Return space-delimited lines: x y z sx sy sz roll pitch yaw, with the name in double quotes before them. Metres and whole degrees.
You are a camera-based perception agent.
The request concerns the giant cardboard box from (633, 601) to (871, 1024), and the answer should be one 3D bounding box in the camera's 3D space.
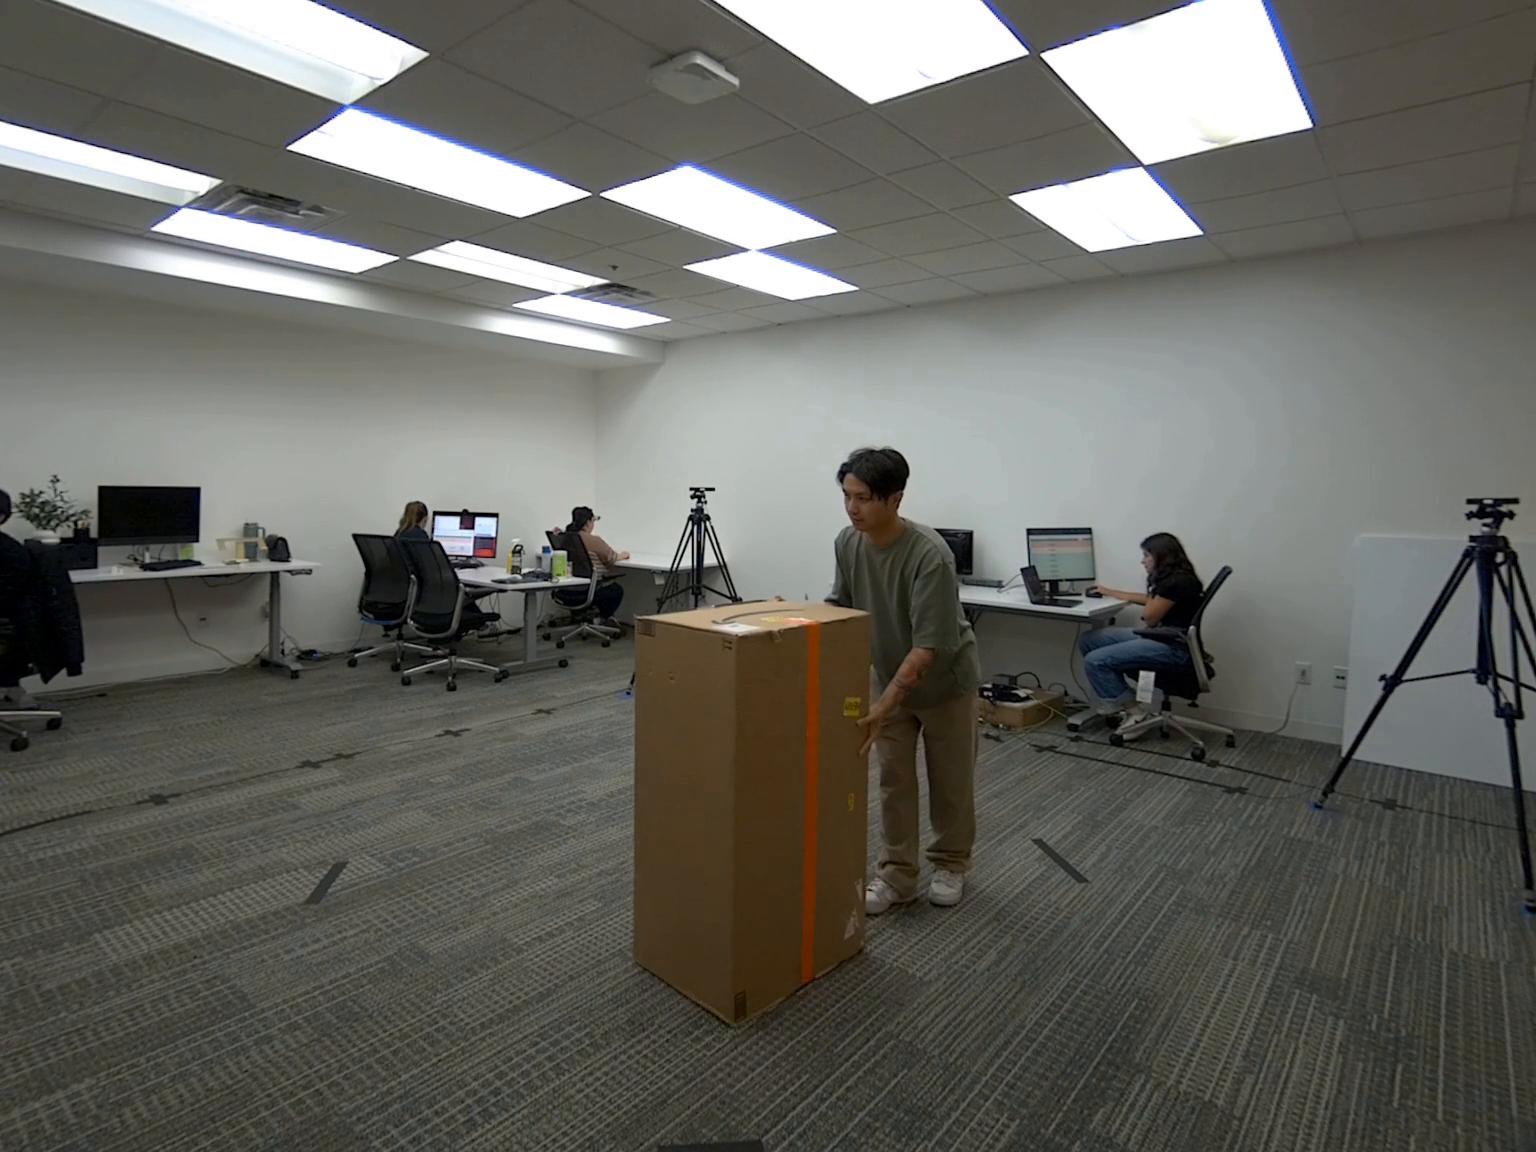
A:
"giant cardboard box" -0.054 0.620 2.505 0.440 1.023 0.560 3 5 44
